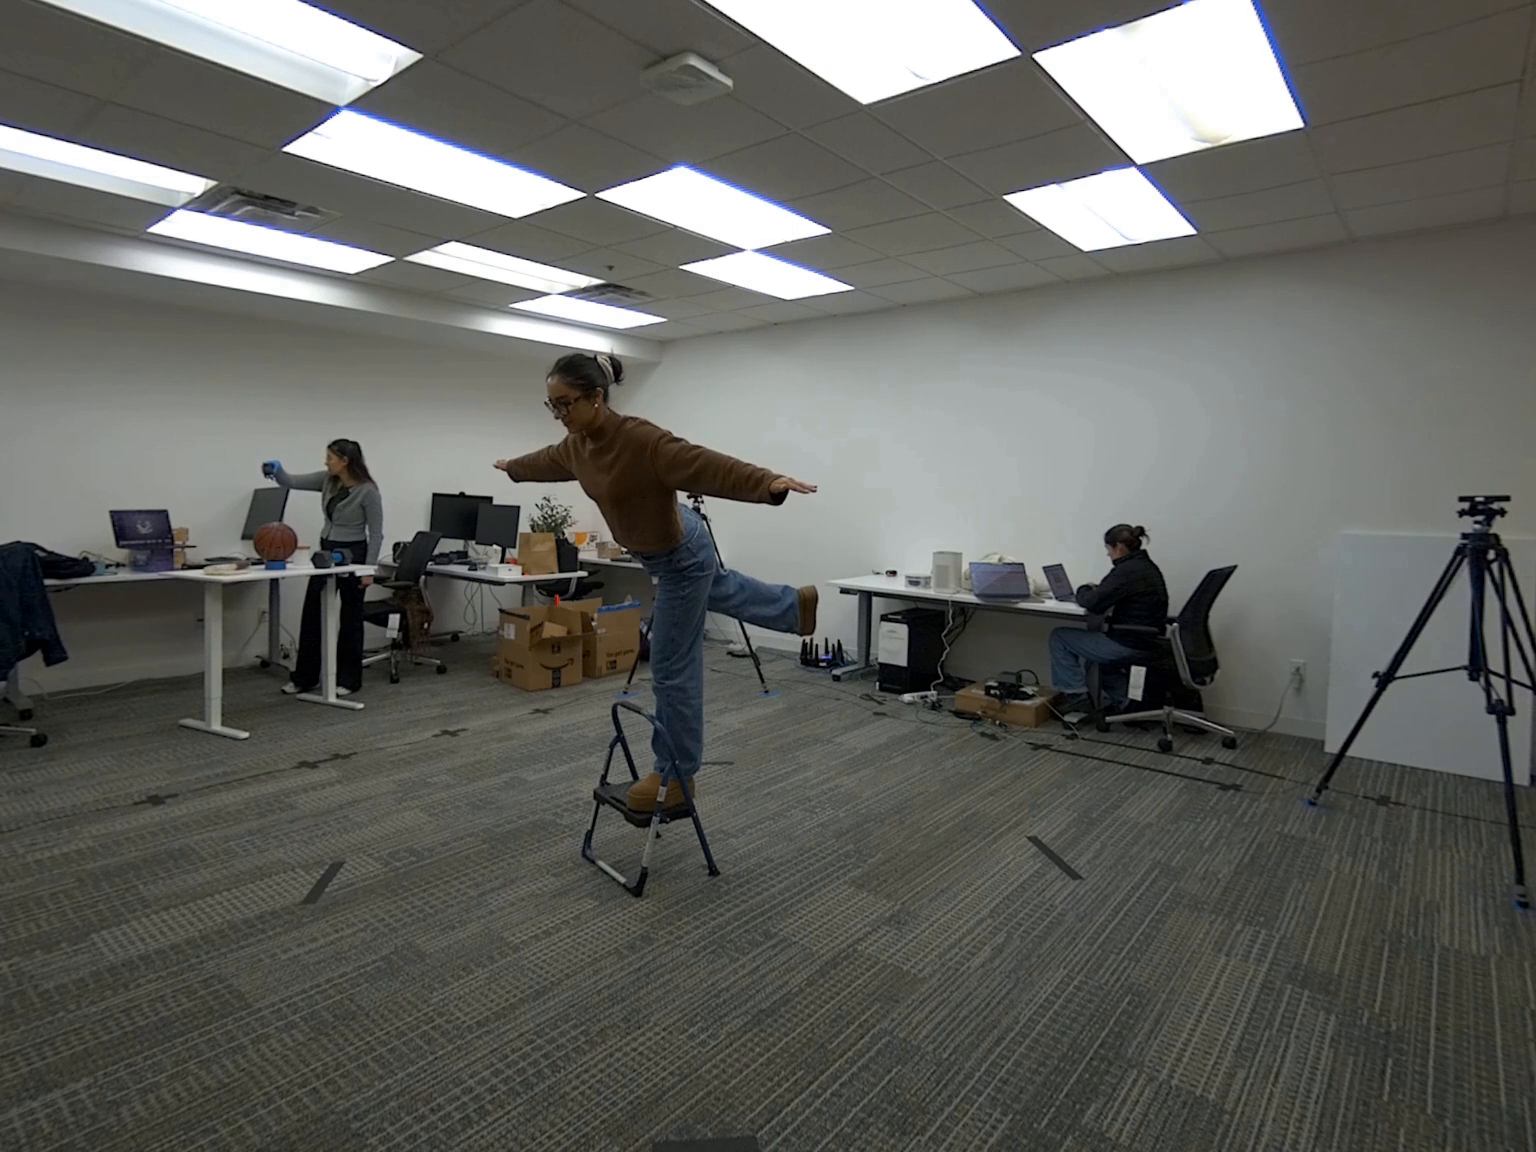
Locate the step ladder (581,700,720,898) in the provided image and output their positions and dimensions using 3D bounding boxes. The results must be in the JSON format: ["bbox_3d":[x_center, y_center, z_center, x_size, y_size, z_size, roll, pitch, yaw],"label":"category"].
[{"bbox_3d":[-0.447,0.759,3.117,0.339,0.604,0.445,-2,5,-39],"label":"step ladder"}]
